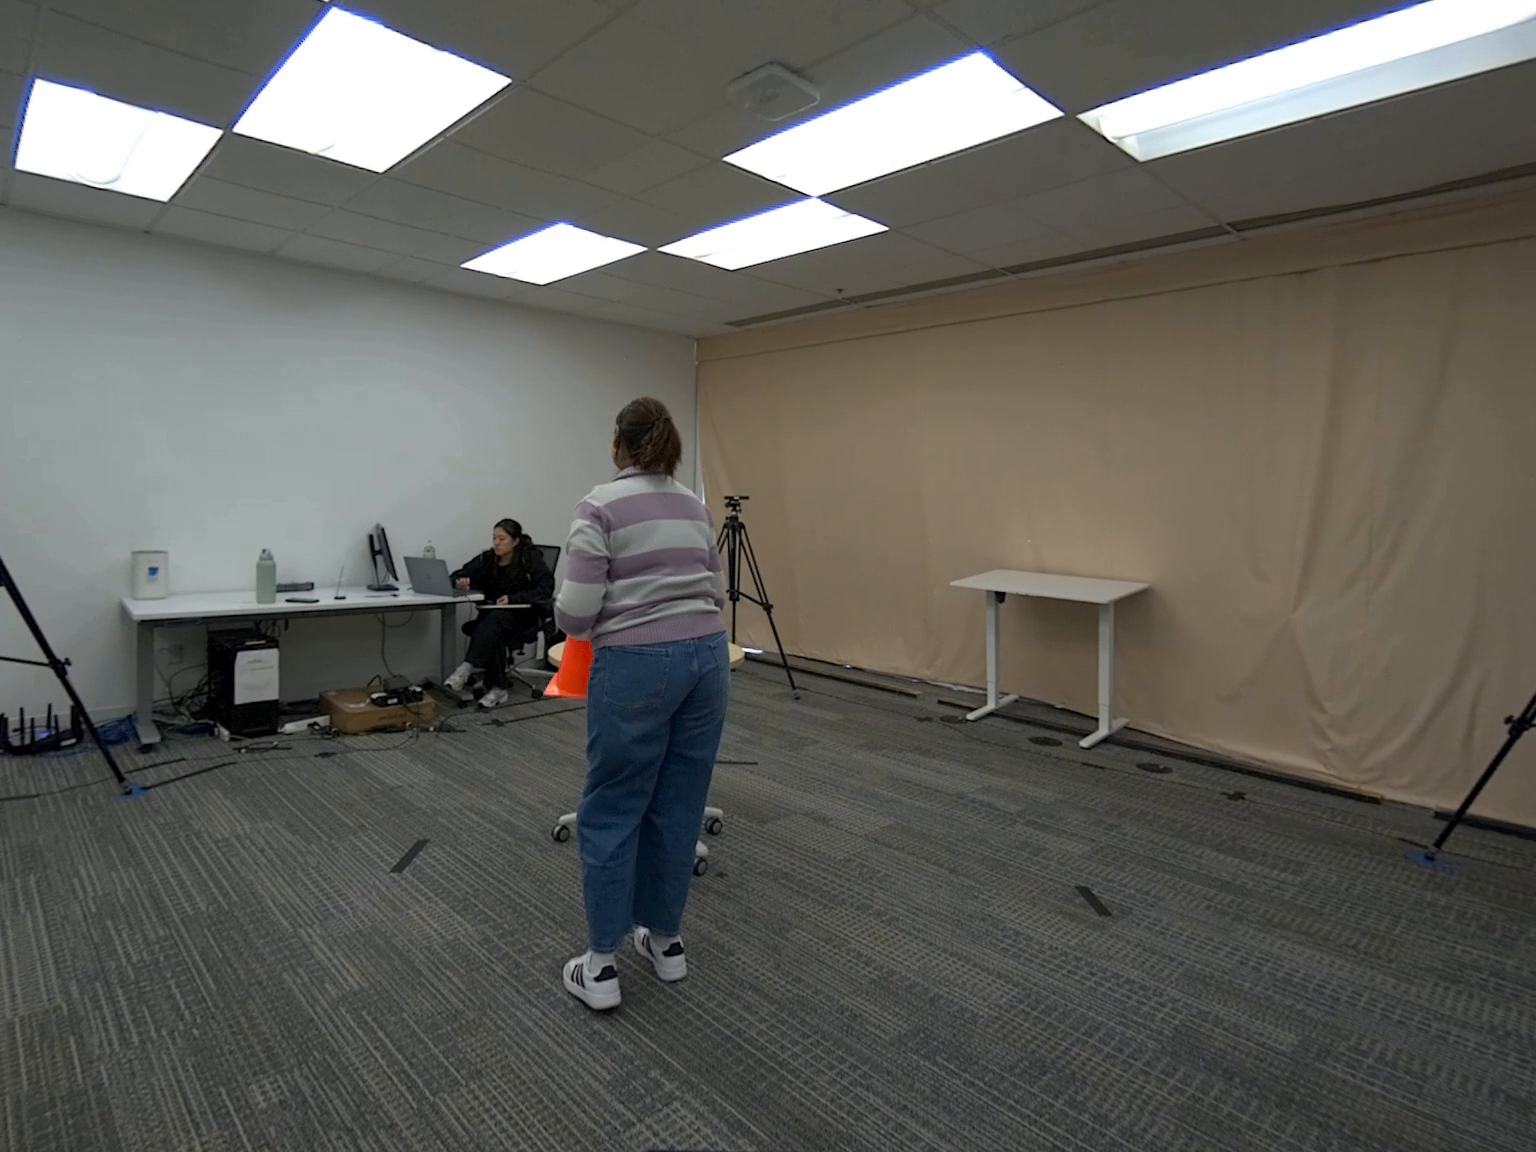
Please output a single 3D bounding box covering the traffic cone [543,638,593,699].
[{"bbox_3d":[-0.592,0.177,2.636,0.203,0.381,0.206,3,10,-11],"label":"traffic cone"}]
